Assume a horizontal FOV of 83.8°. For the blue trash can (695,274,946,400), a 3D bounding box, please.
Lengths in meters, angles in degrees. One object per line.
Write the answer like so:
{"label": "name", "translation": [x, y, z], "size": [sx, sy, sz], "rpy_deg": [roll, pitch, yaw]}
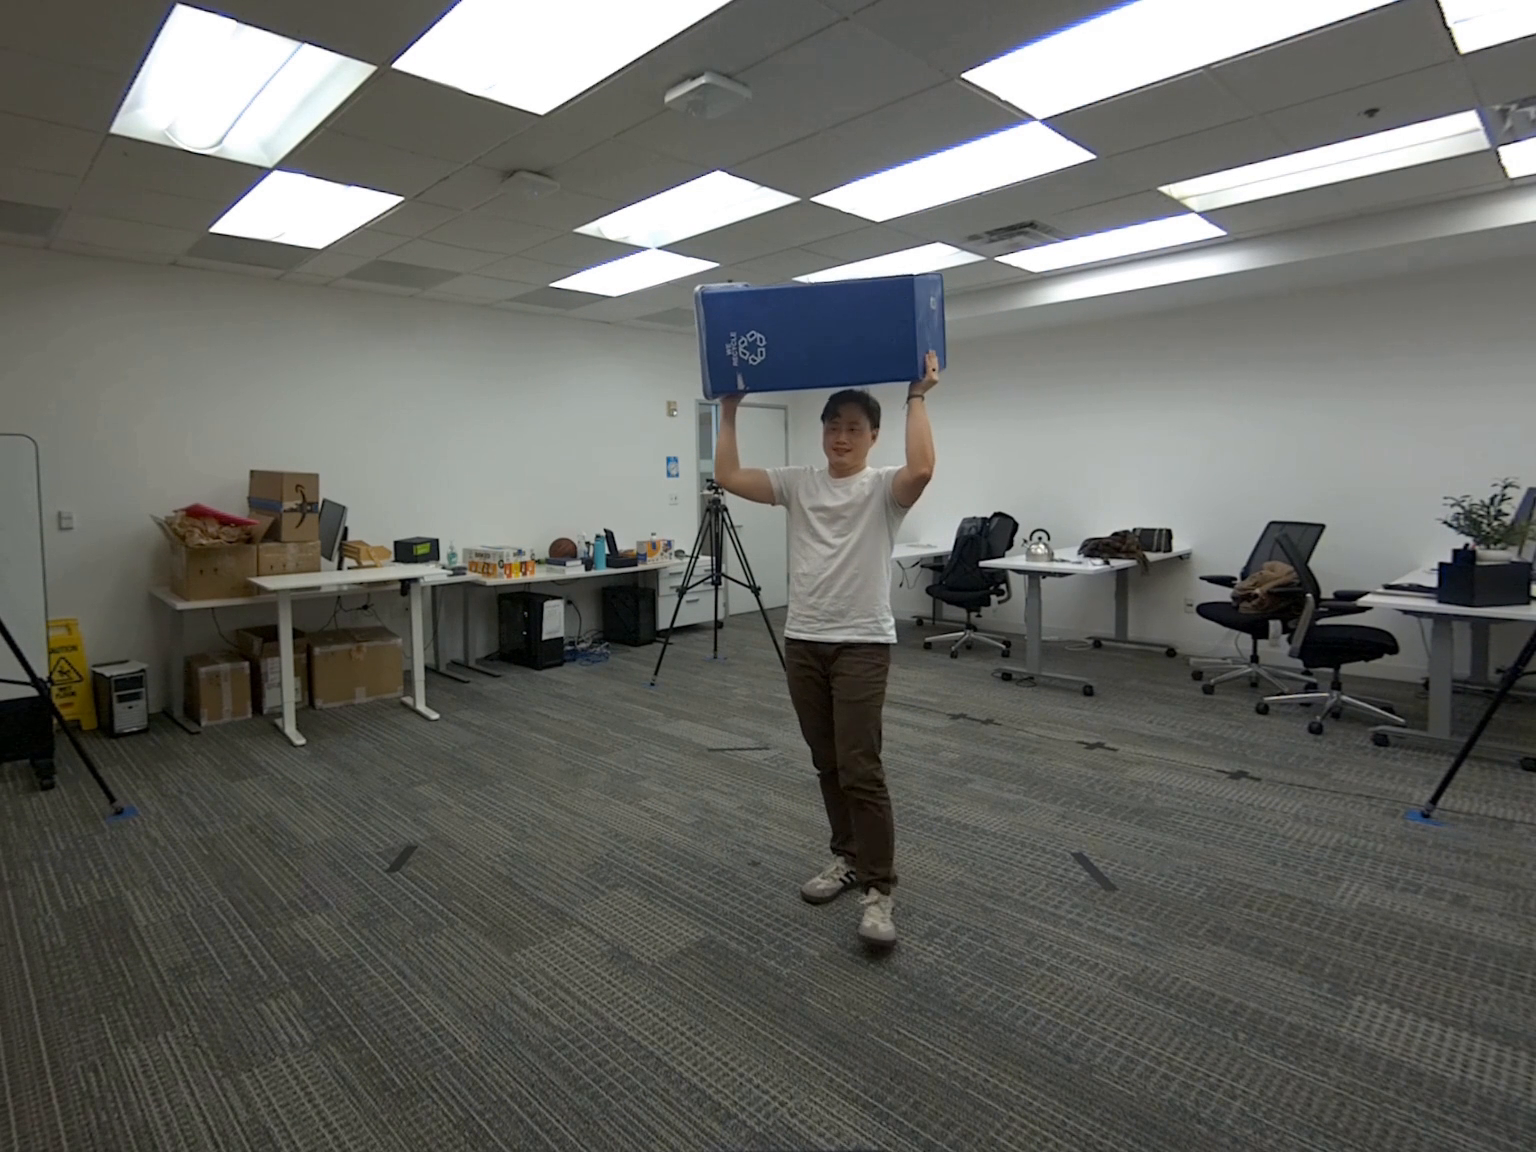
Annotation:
{"label": "blue trash can", "translation": [0.167, -0.781, 2.731], "size": [0.733, 0.372, 0.370], "rpy_deg": [4, 19, 30]}
